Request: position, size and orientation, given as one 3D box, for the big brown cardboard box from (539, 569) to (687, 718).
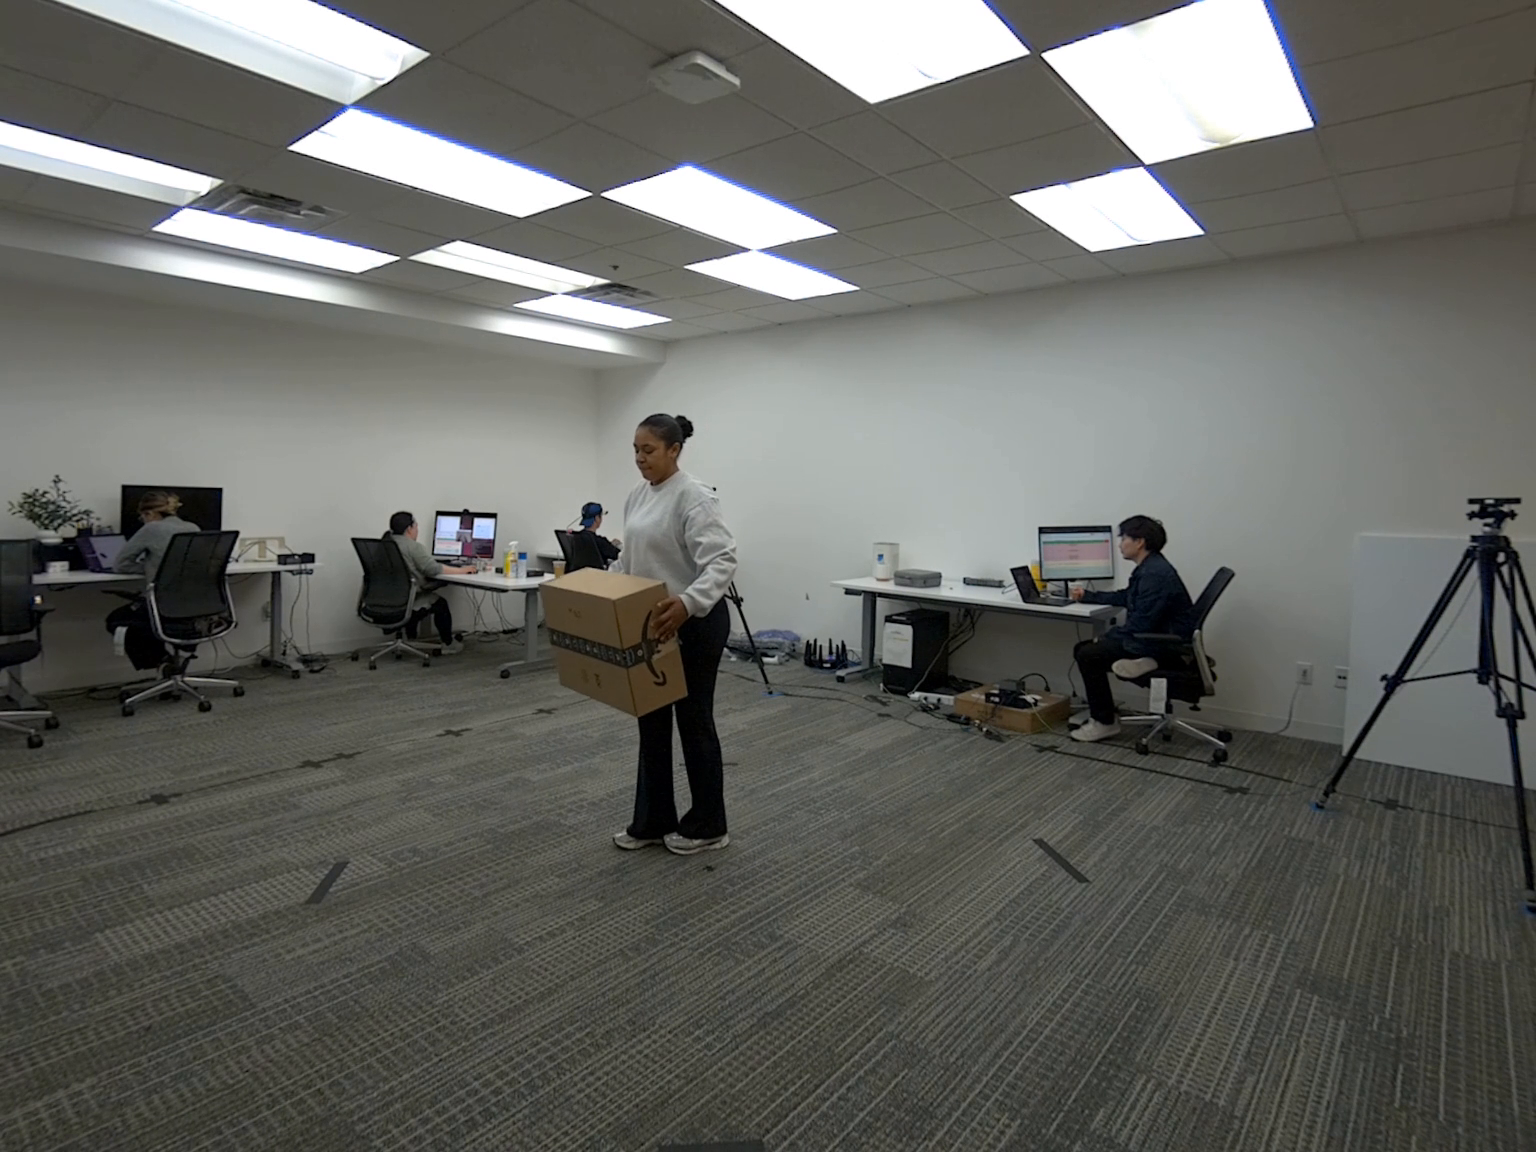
[{"bbox_3d":[-0.584,0.222,3.086,0.228,0.412,0.609,-17,15,-35],"label":"big brown cardboard box"}]
